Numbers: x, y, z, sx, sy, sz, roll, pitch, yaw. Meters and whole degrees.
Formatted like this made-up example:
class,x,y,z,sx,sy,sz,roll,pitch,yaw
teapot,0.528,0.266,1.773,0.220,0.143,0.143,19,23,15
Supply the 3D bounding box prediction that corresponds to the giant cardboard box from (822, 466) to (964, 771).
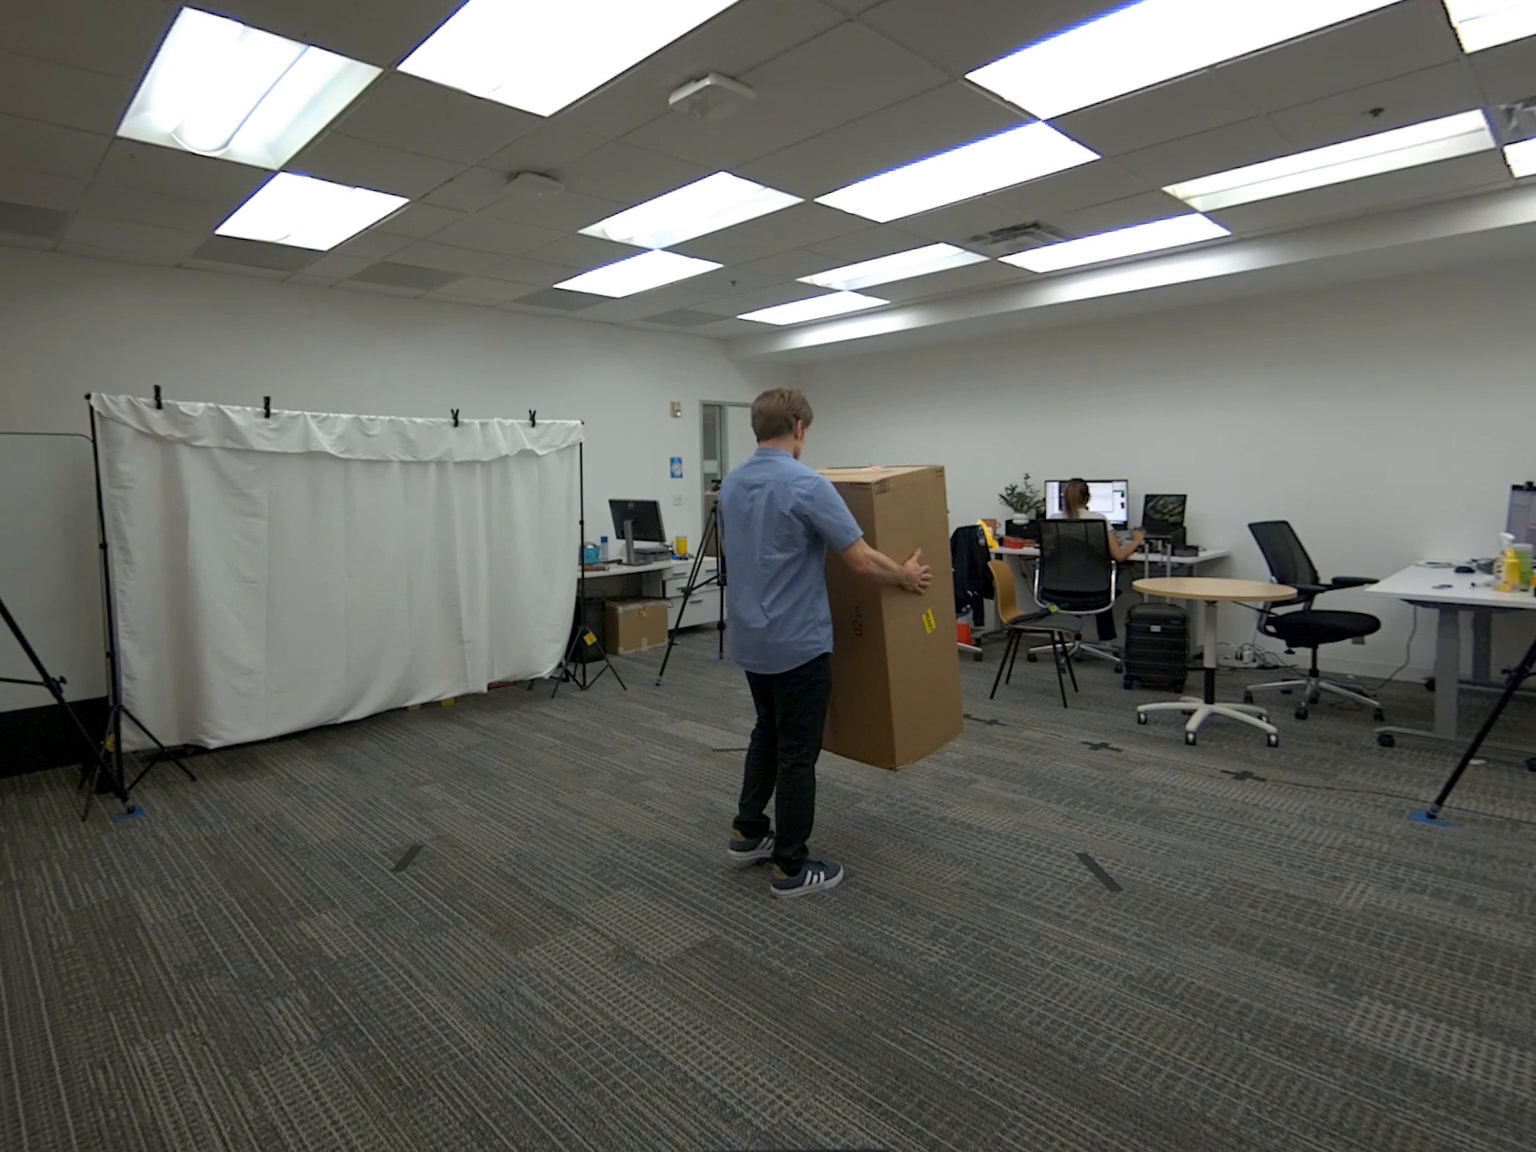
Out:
class,x,y,z,sx,sy,sz,roll,pitch,yaw
giant cardboard box,0.347,0.122,3.244,0.417,1.017,0.595,-13,11,-41
